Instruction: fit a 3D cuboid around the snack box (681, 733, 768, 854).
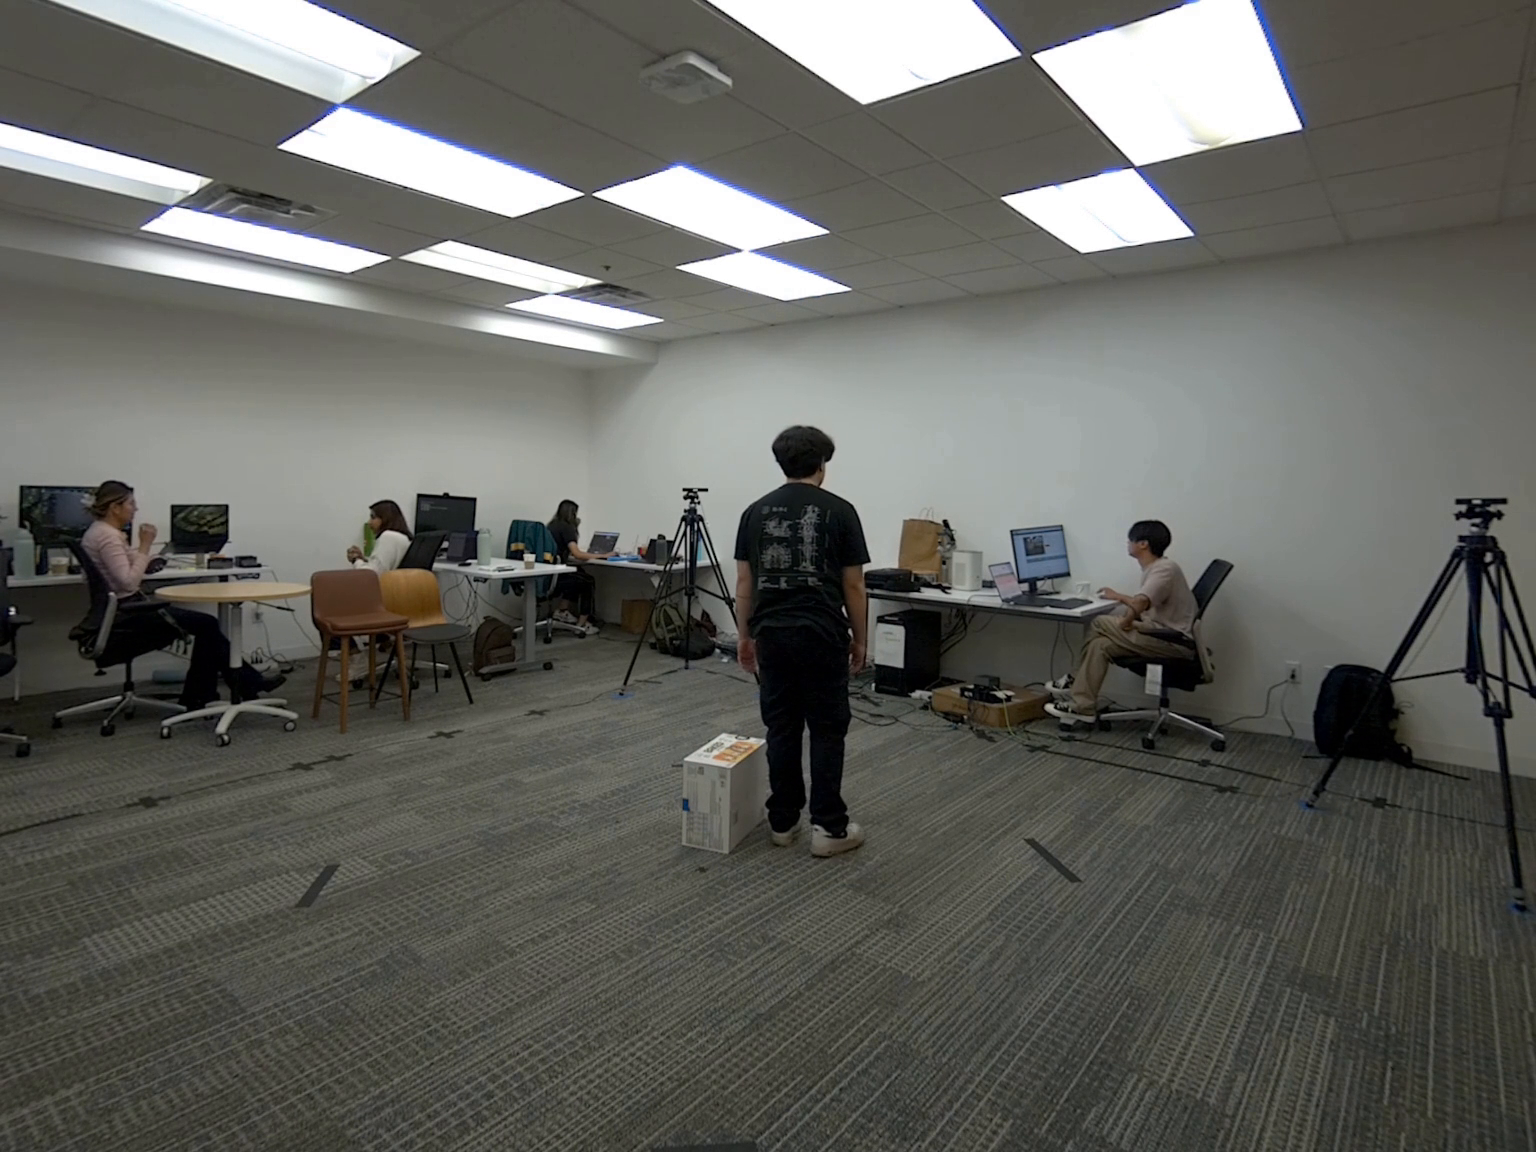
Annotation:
[{"bbox_3d":[-0.181,0.866,3.452,0.210,0.339,0.397,2,5,21],"label":"snack box"}]
